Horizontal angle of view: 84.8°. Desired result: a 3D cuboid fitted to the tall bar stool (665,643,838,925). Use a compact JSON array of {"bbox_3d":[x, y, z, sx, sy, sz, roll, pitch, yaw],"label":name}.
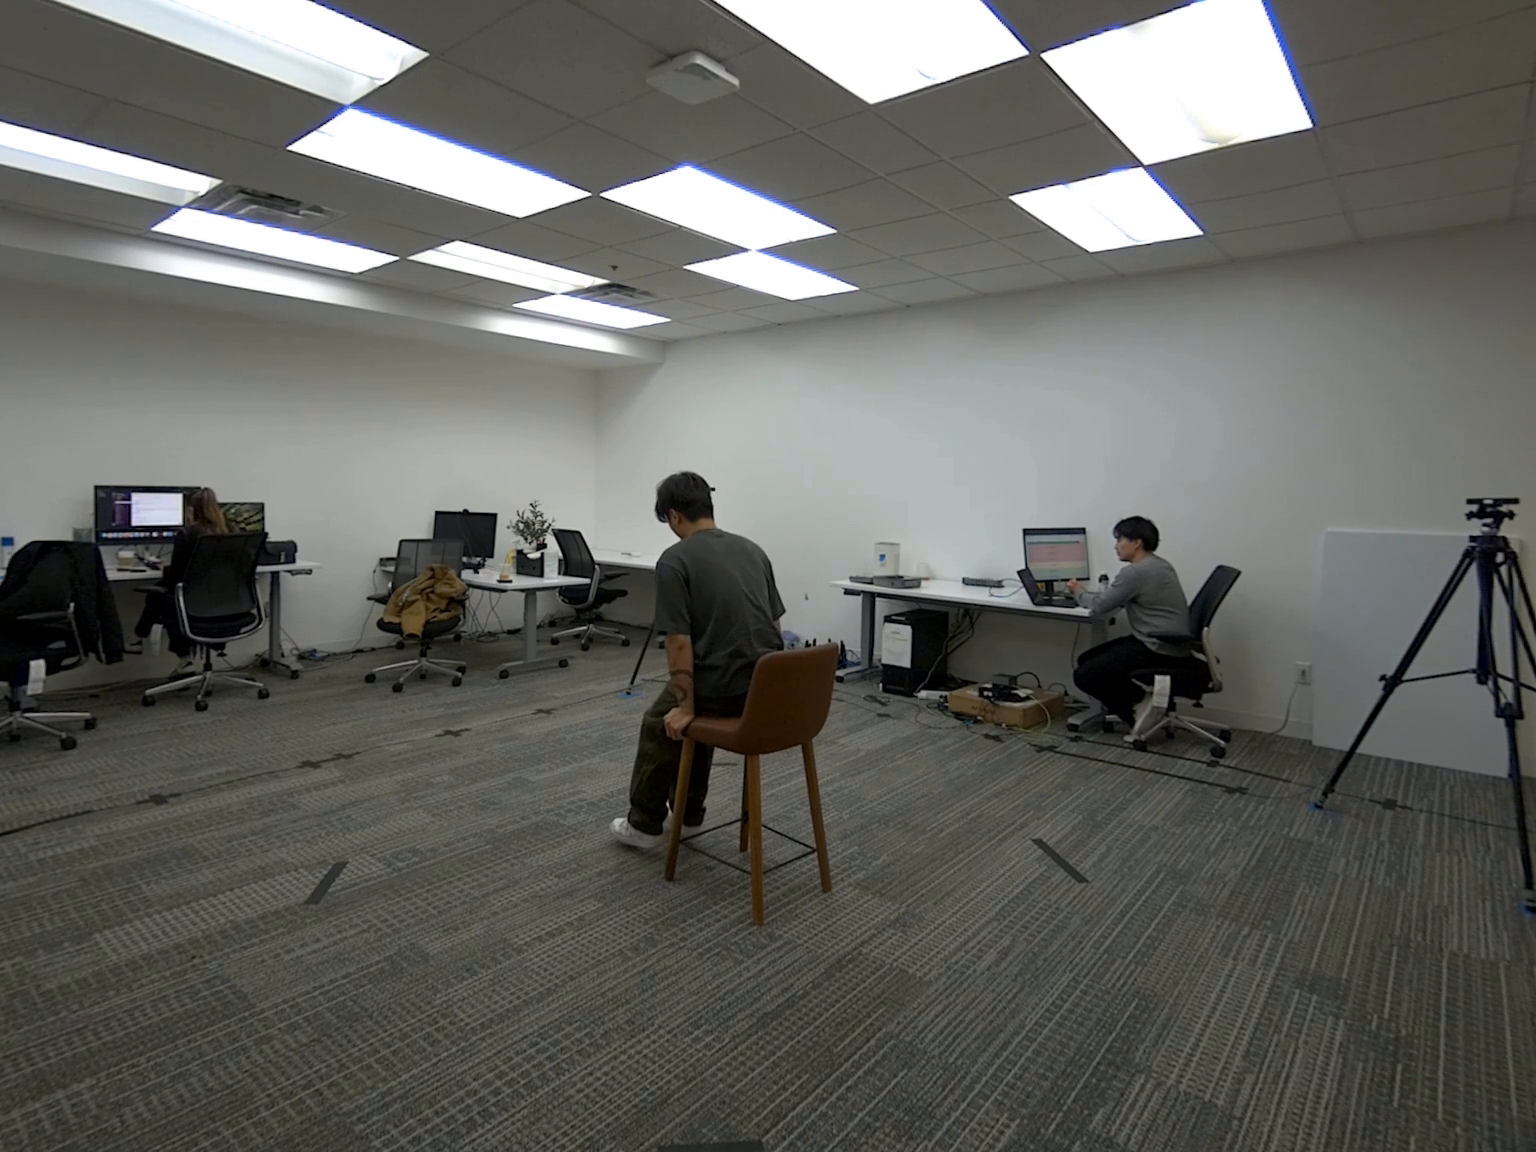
[{"bbox_3d":[-0.058,0.646,2.961,0.484,0.886,0.442,7,6,43],"label":"tall bar stool"}]
